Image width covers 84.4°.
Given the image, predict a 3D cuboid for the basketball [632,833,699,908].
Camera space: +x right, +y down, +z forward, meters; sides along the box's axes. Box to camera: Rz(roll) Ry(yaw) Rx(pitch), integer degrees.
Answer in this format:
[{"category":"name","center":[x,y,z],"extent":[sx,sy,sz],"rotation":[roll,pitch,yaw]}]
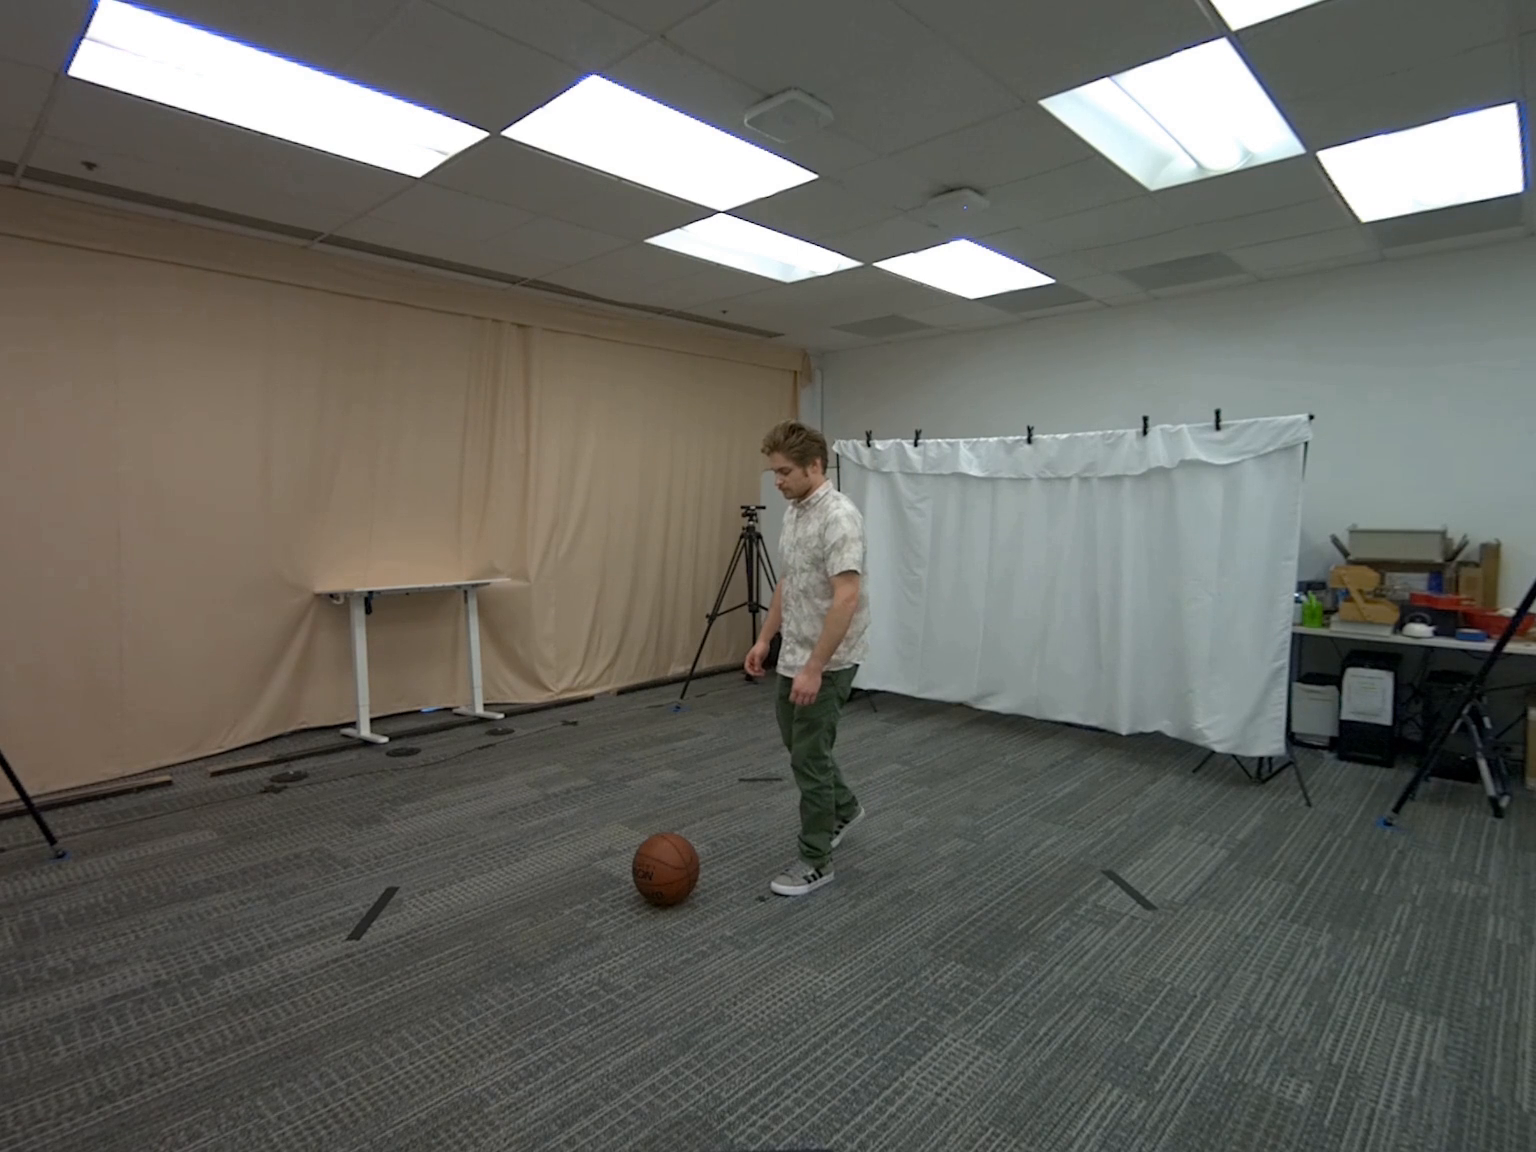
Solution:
[{"category":"basketball","center":[-0.360,1.026,2.962],"extent":[0.236,0.235,0.237],"rotation":[0,4,-2]}]
